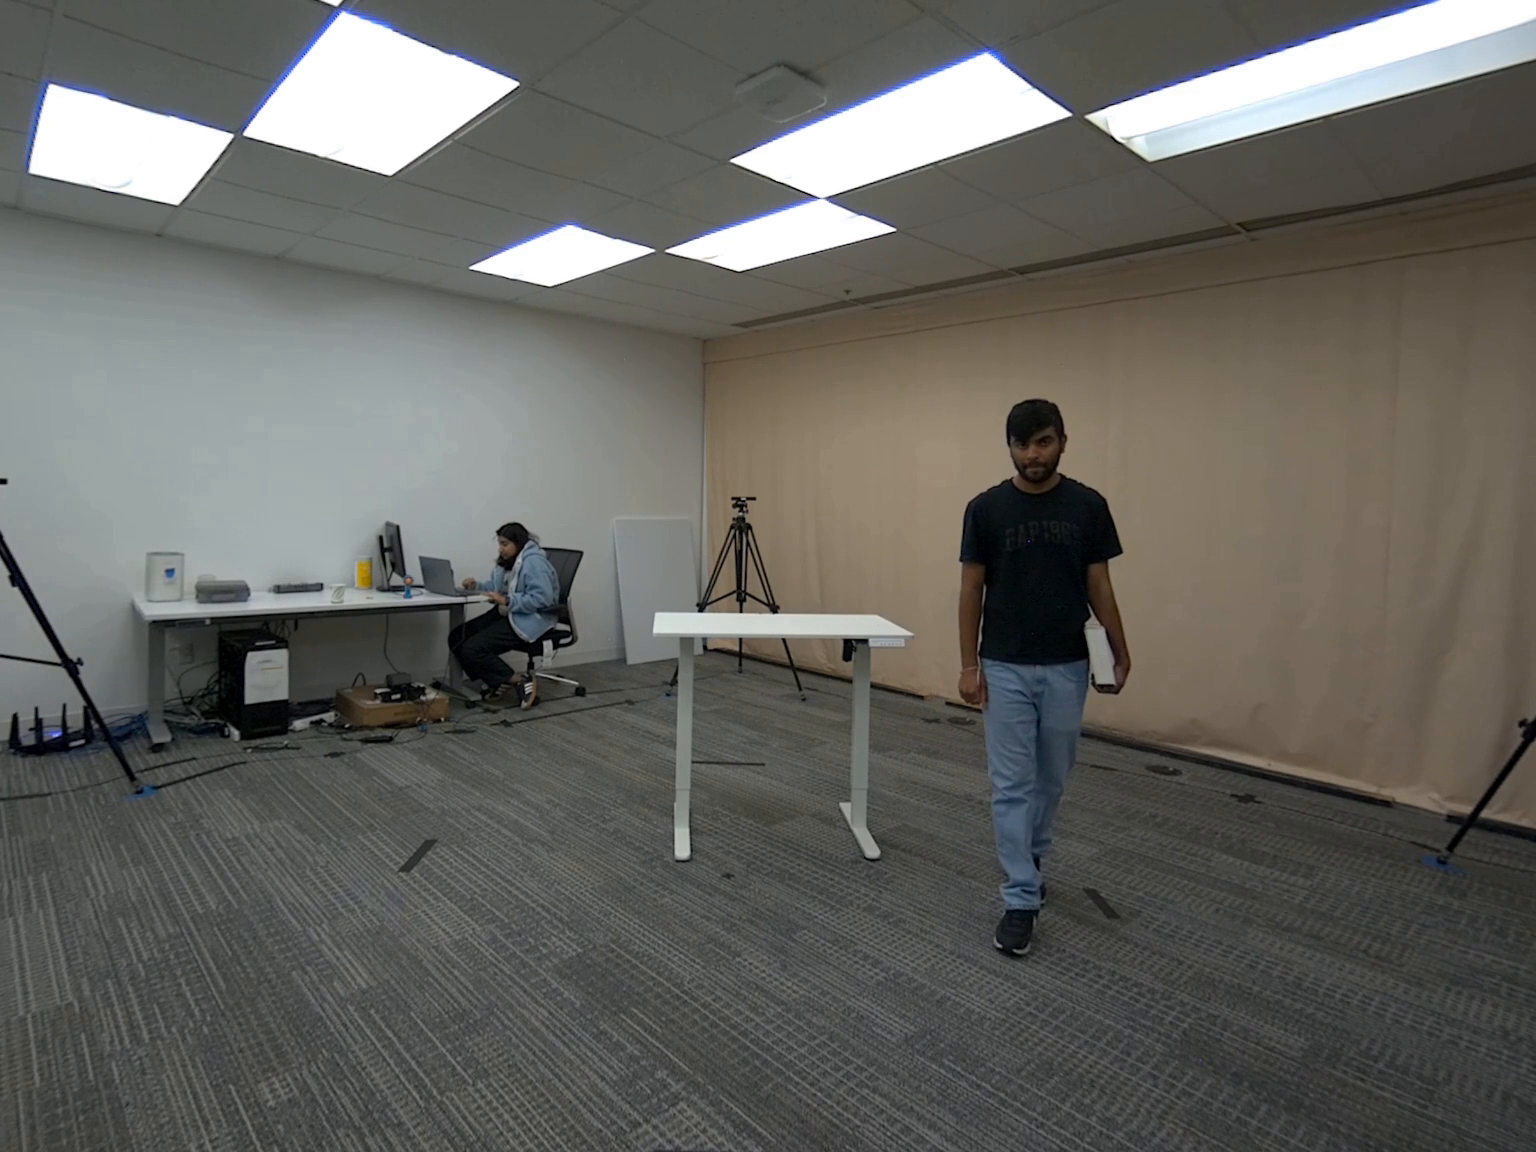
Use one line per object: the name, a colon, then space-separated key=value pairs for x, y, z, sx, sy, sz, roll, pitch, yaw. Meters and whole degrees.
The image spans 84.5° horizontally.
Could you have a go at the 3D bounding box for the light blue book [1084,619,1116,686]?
light blue book: x=1.088 y=0.253 z=2.806 sx=0.059 sy=0.192 sz=0.257 roll=-10 pitch=-2 yaw=16
